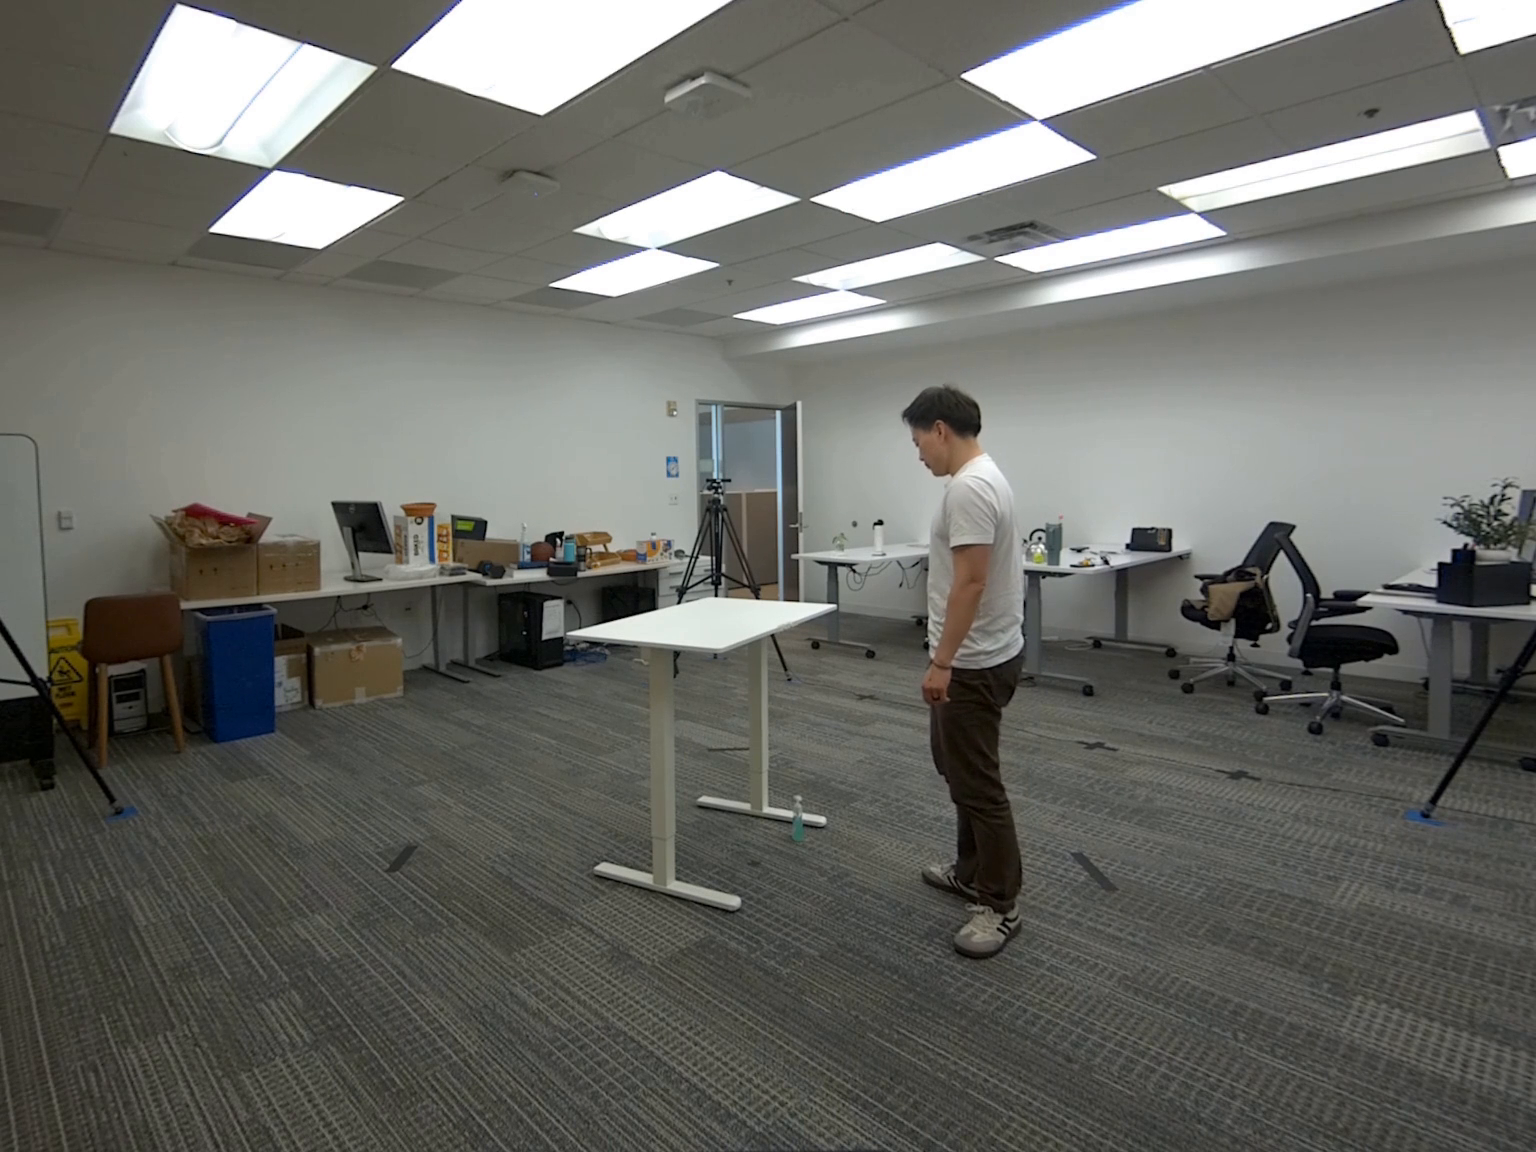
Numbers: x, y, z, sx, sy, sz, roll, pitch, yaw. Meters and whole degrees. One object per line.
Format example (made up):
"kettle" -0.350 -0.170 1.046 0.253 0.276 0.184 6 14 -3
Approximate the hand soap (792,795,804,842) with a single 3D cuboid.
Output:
"hand soap" 0.117 0.938 3.311 0.043 0.168 0.085 0 2 -4
